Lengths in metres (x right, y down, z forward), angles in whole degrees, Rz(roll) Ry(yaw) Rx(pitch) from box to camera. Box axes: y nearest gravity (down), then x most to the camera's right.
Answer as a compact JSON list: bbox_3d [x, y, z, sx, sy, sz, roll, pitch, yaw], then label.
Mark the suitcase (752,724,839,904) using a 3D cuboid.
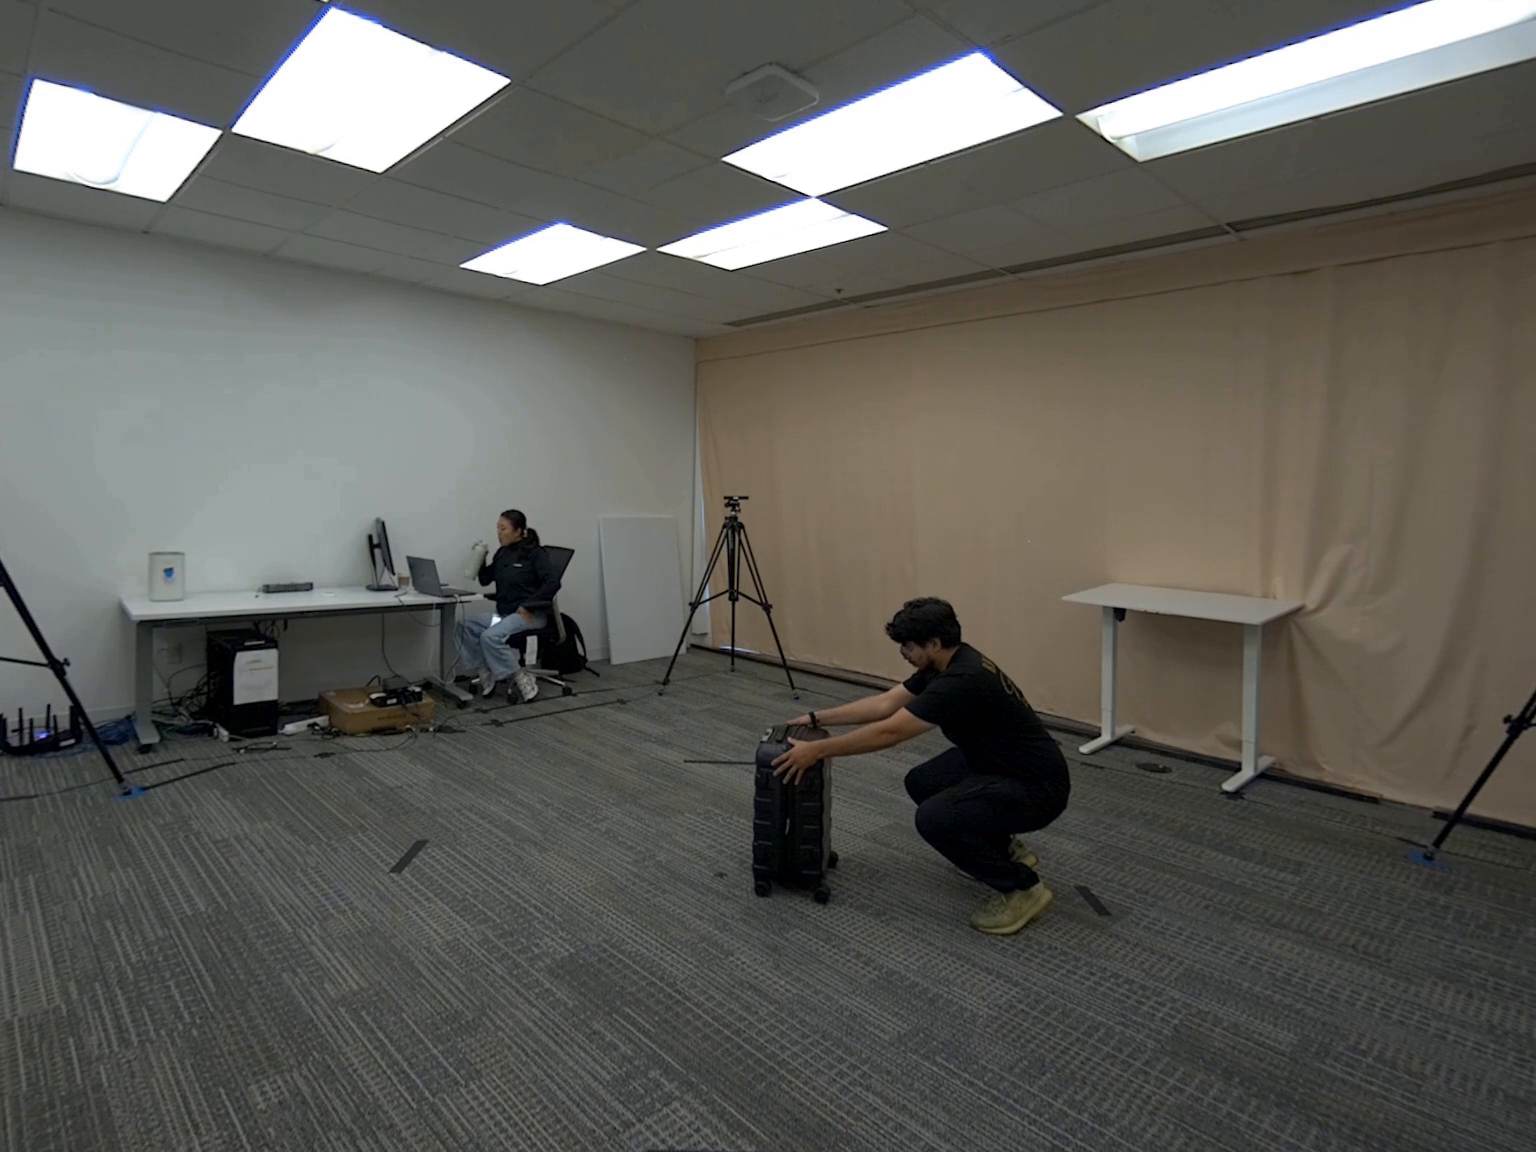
[{"bbox_3d":[0.095,0.836,3.073,0.250,0.548,0.373,-1,2,9],"label":"suitcase"}]
